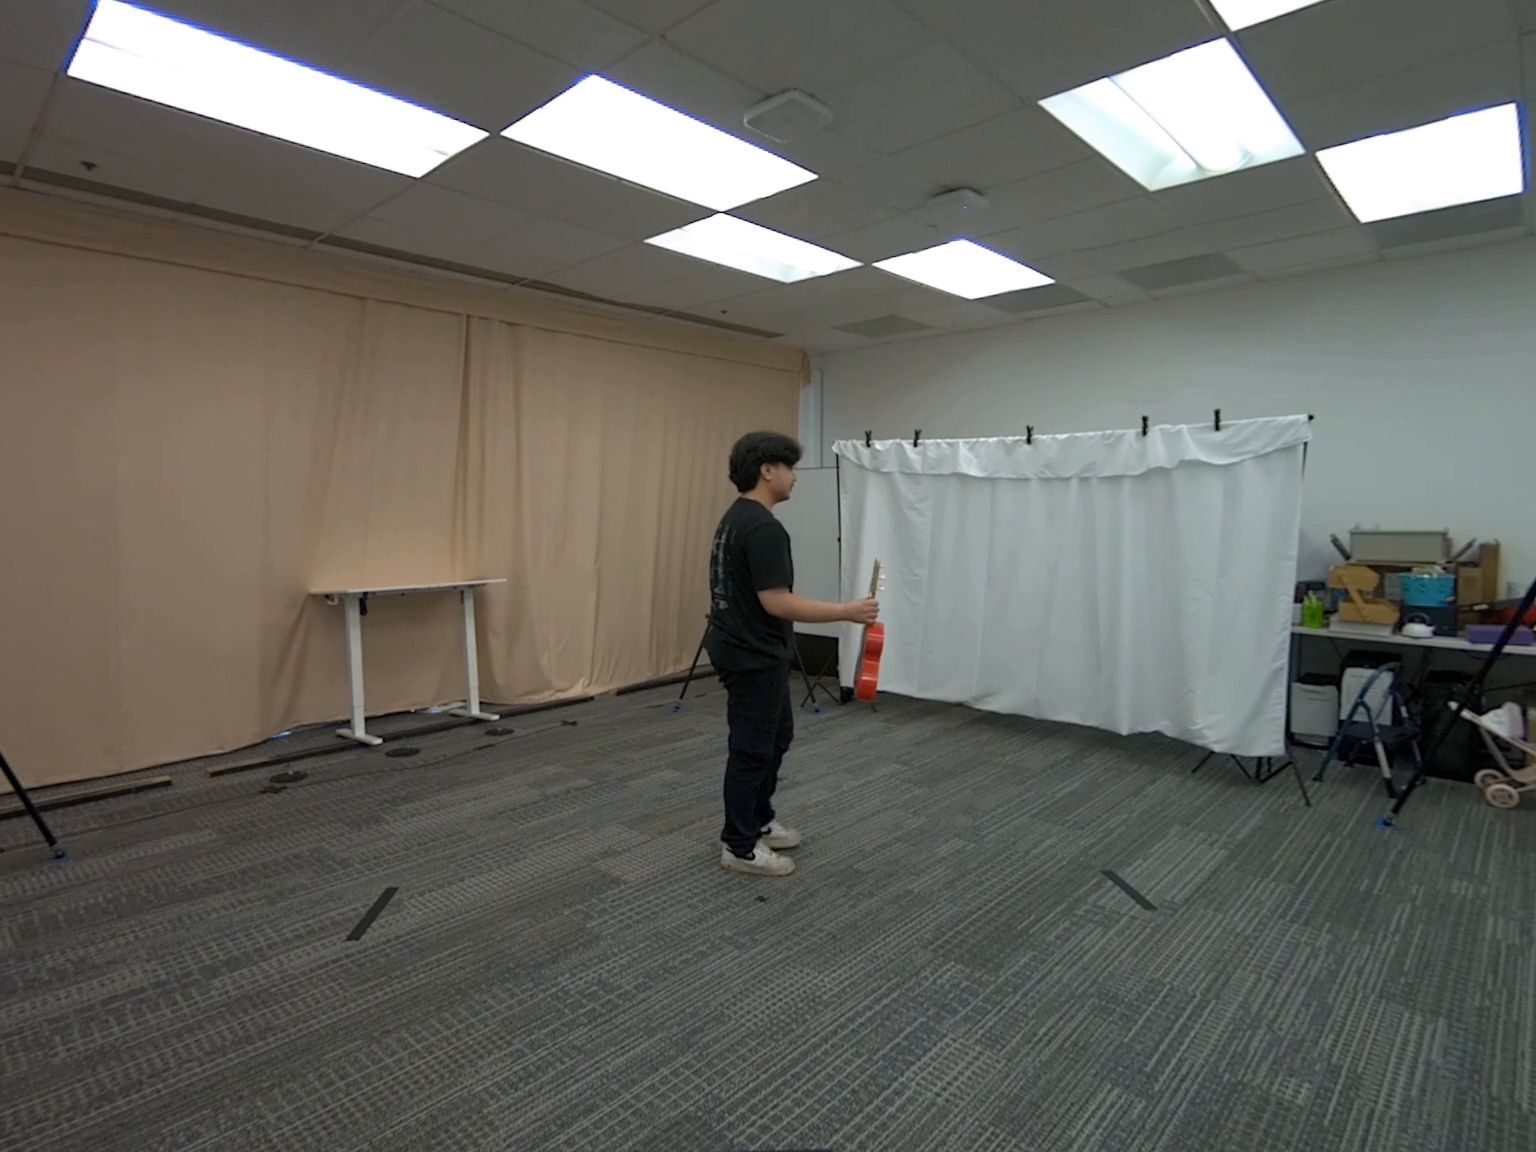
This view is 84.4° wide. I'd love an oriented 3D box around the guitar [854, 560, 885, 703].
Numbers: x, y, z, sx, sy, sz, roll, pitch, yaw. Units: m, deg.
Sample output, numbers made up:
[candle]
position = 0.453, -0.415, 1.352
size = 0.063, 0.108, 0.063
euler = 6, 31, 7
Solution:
[guitar]
position = 0.375, 0.201, 2.931
size = 0.071, 0.494, 0.194
euler = 9, 16, -1
